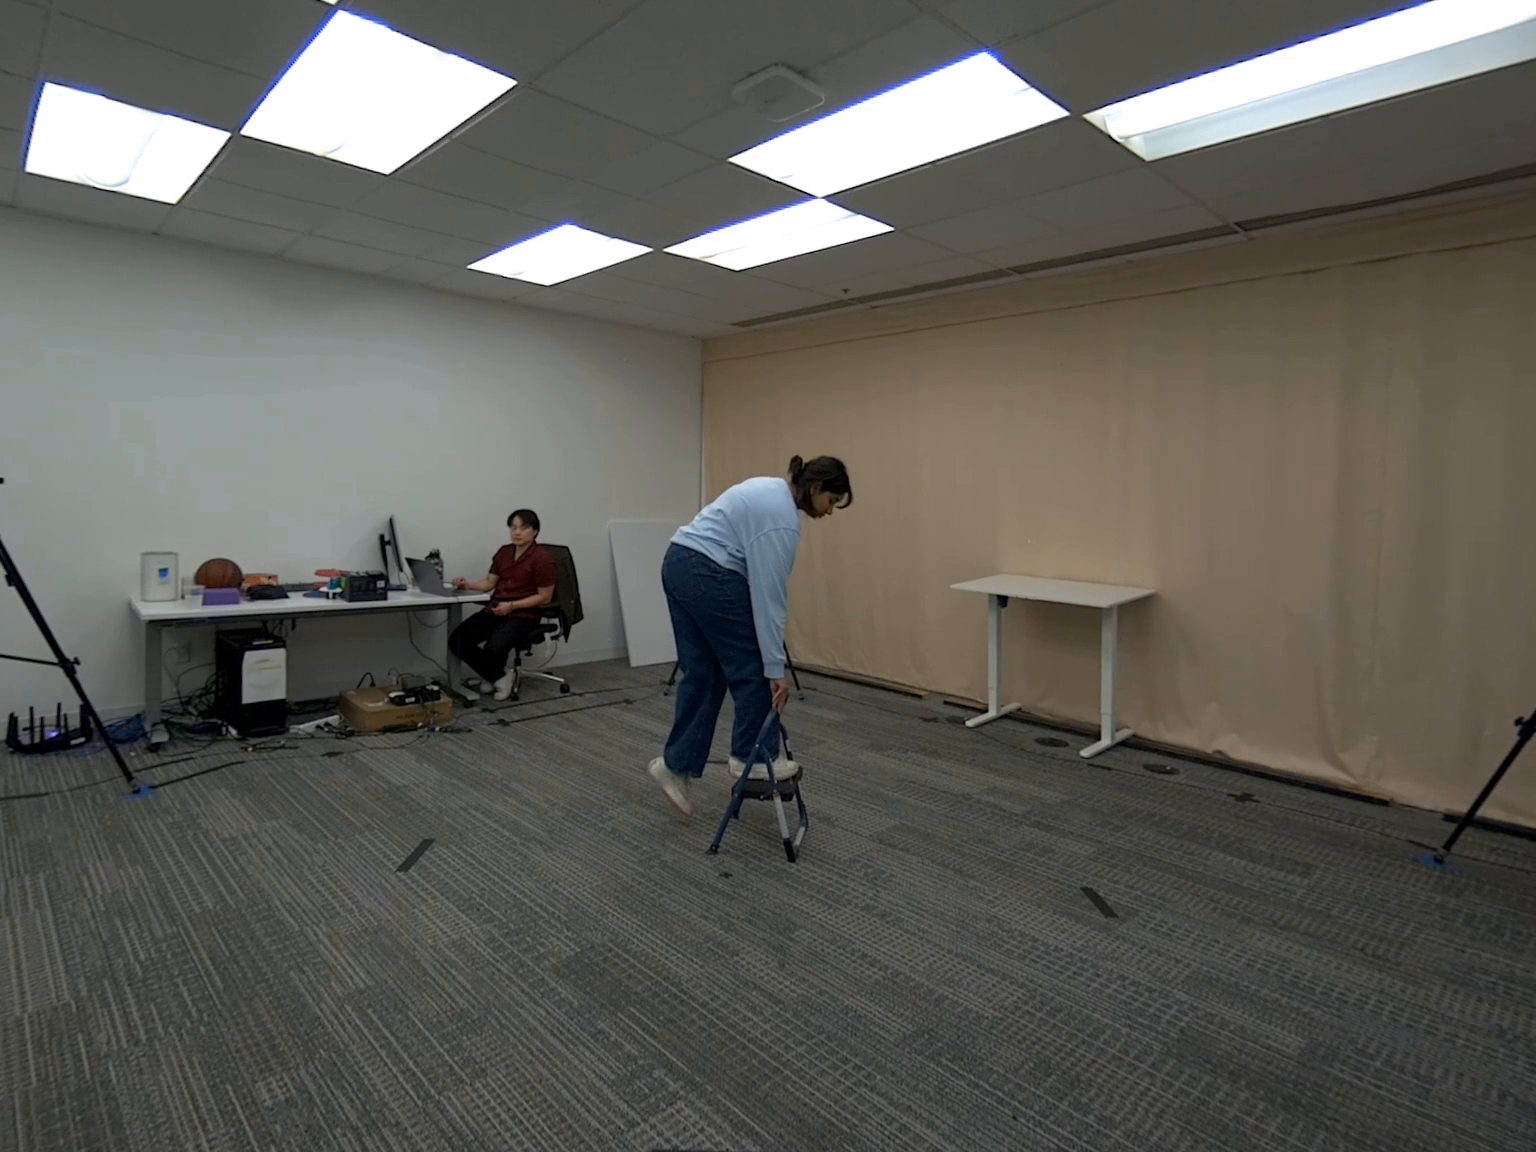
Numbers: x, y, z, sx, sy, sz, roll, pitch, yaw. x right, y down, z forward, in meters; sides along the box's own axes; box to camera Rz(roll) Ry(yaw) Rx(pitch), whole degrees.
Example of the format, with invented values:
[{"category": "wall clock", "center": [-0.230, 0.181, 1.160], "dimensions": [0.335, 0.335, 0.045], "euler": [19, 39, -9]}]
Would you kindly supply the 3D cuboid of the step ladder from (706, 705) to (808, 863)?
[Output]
[{"category": "step ladder", "center": [-0.028, 0.778, 3.435], "dimensions": [0.352, 0.604, 0.428], "euler": [2, 4, 11]}]
